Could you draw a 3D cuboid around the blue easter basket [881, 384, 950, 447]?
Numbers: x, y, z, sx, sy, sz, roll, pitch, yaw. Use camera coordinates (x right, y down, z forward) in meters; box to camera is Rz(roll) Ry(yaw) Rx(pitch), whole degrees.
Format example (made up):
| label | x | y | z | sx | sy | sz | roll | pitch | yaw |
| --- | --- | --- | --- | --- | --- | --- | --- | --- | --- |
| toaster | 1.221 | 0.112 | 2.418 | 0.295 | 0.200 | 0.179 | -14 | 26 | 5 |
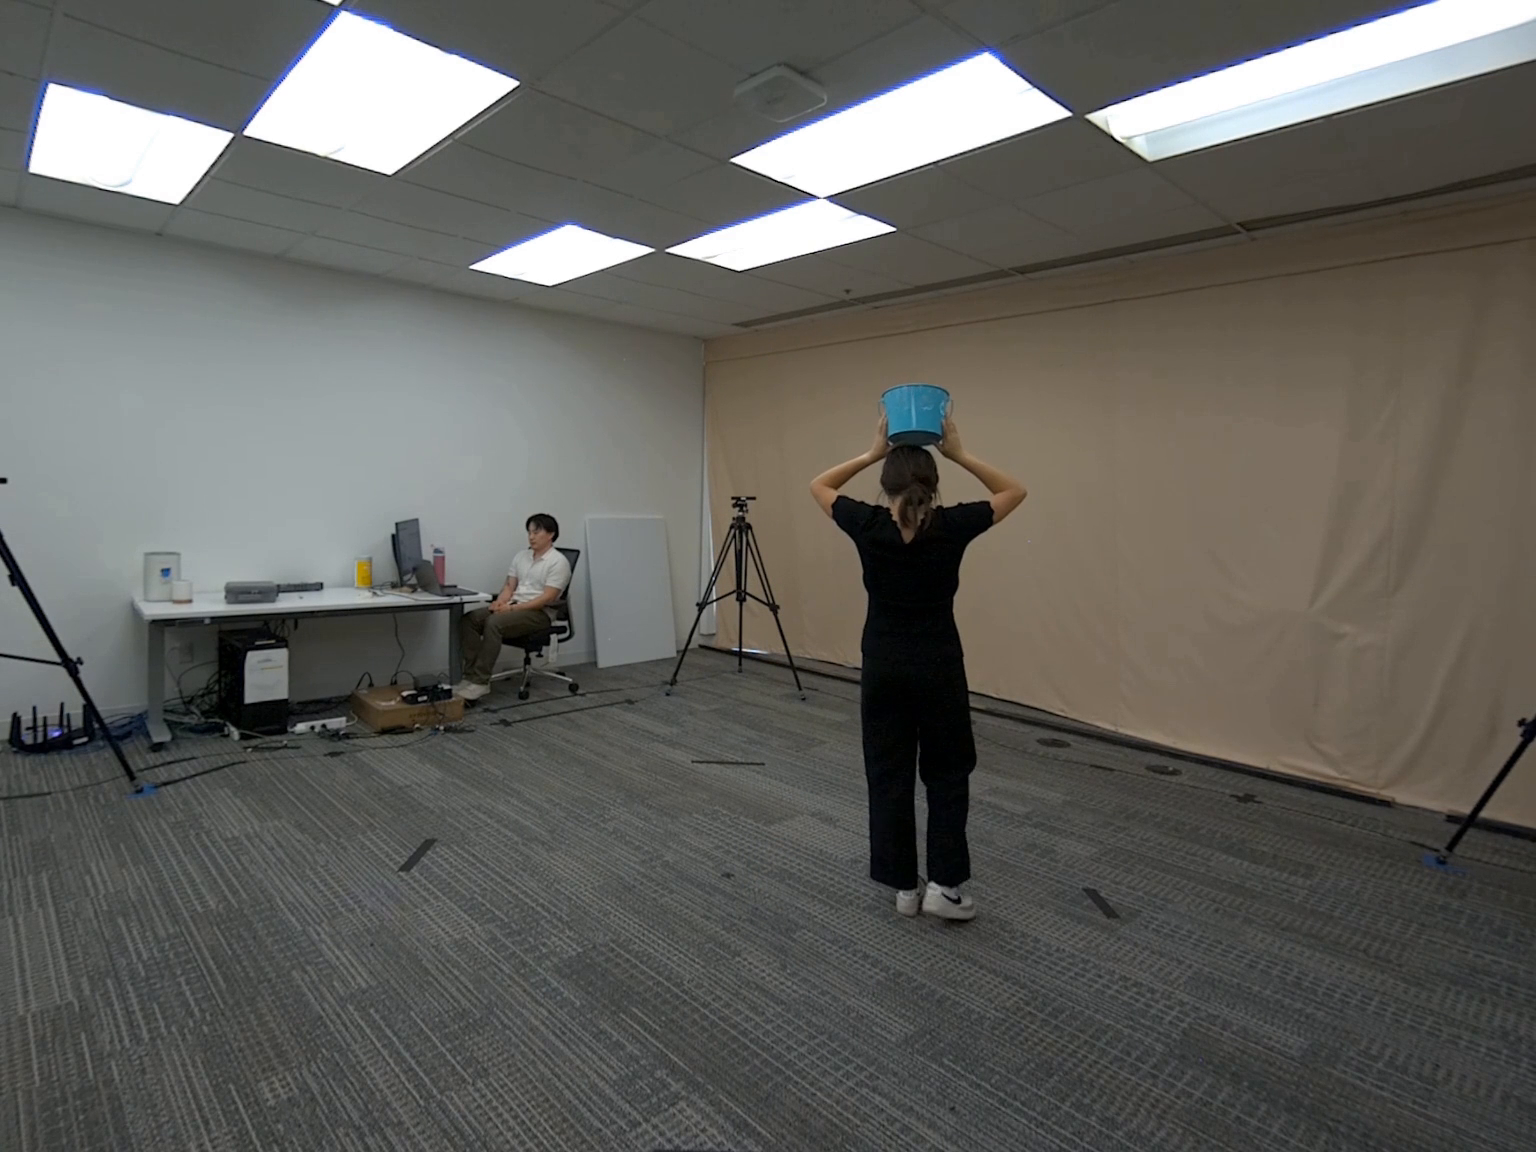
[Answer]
| label | x | y | z | sx | sy | sz | roll | pitch | yaw |
| --- | --- | --- | --- | --- | --- | --- | --- | --- | --- |
| blue easter basket | 0.510 | -0.538 | 2.876 | 0.243 | 0.157 | 0.241 | 4 | -11 | 0 |
